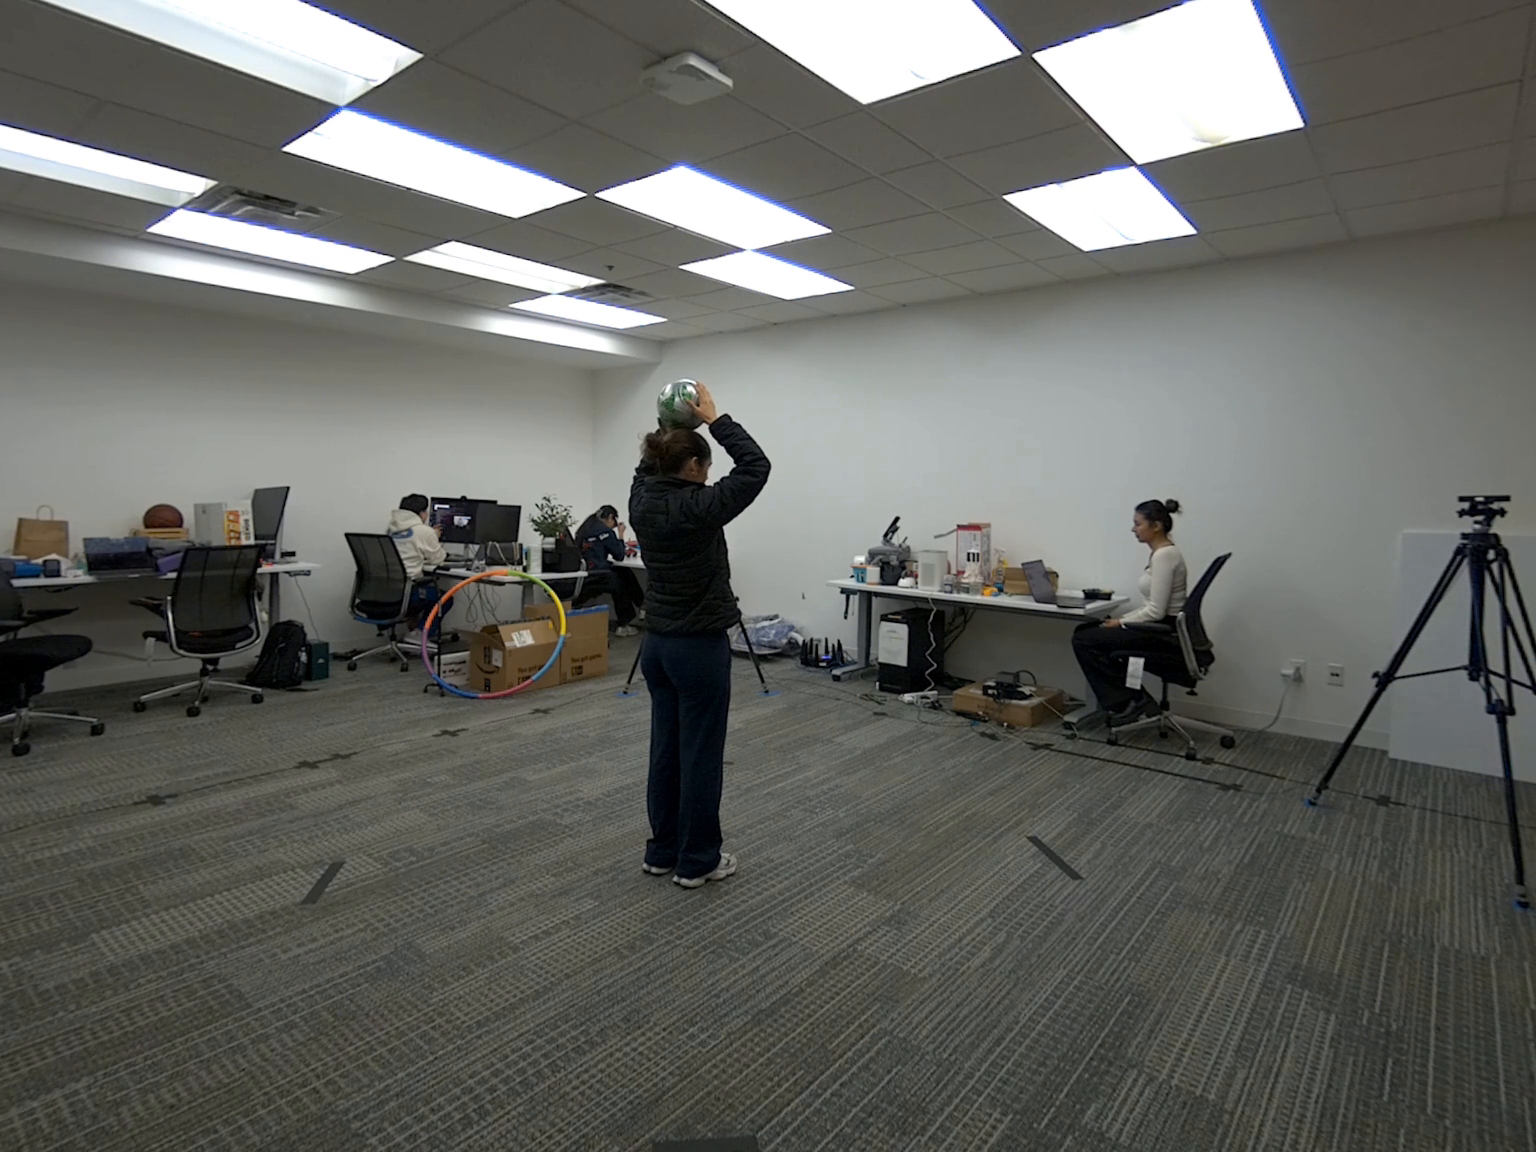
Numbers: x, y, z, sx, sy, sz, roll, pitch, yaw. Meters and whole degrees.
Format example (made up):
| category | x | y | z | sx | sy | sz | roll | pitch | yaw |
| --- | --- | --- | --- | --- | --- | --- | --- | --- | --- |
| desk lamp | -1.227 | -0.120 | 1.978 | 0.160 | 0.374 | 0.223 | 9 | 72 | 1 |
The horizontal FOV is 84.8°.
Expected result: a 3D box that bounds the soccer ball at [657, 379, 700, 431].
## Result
| category | x | y | z | sx | sy | sz | roll | pitch | yaw |
| --- | --- | --- | --- | --- | --- | --- | --- | --- | --- |
| soccer ball | -0.304 | -0.611 | 3.038 | 0.187 | 0.187 | 0.188 | 1 | 4 | -2 |
